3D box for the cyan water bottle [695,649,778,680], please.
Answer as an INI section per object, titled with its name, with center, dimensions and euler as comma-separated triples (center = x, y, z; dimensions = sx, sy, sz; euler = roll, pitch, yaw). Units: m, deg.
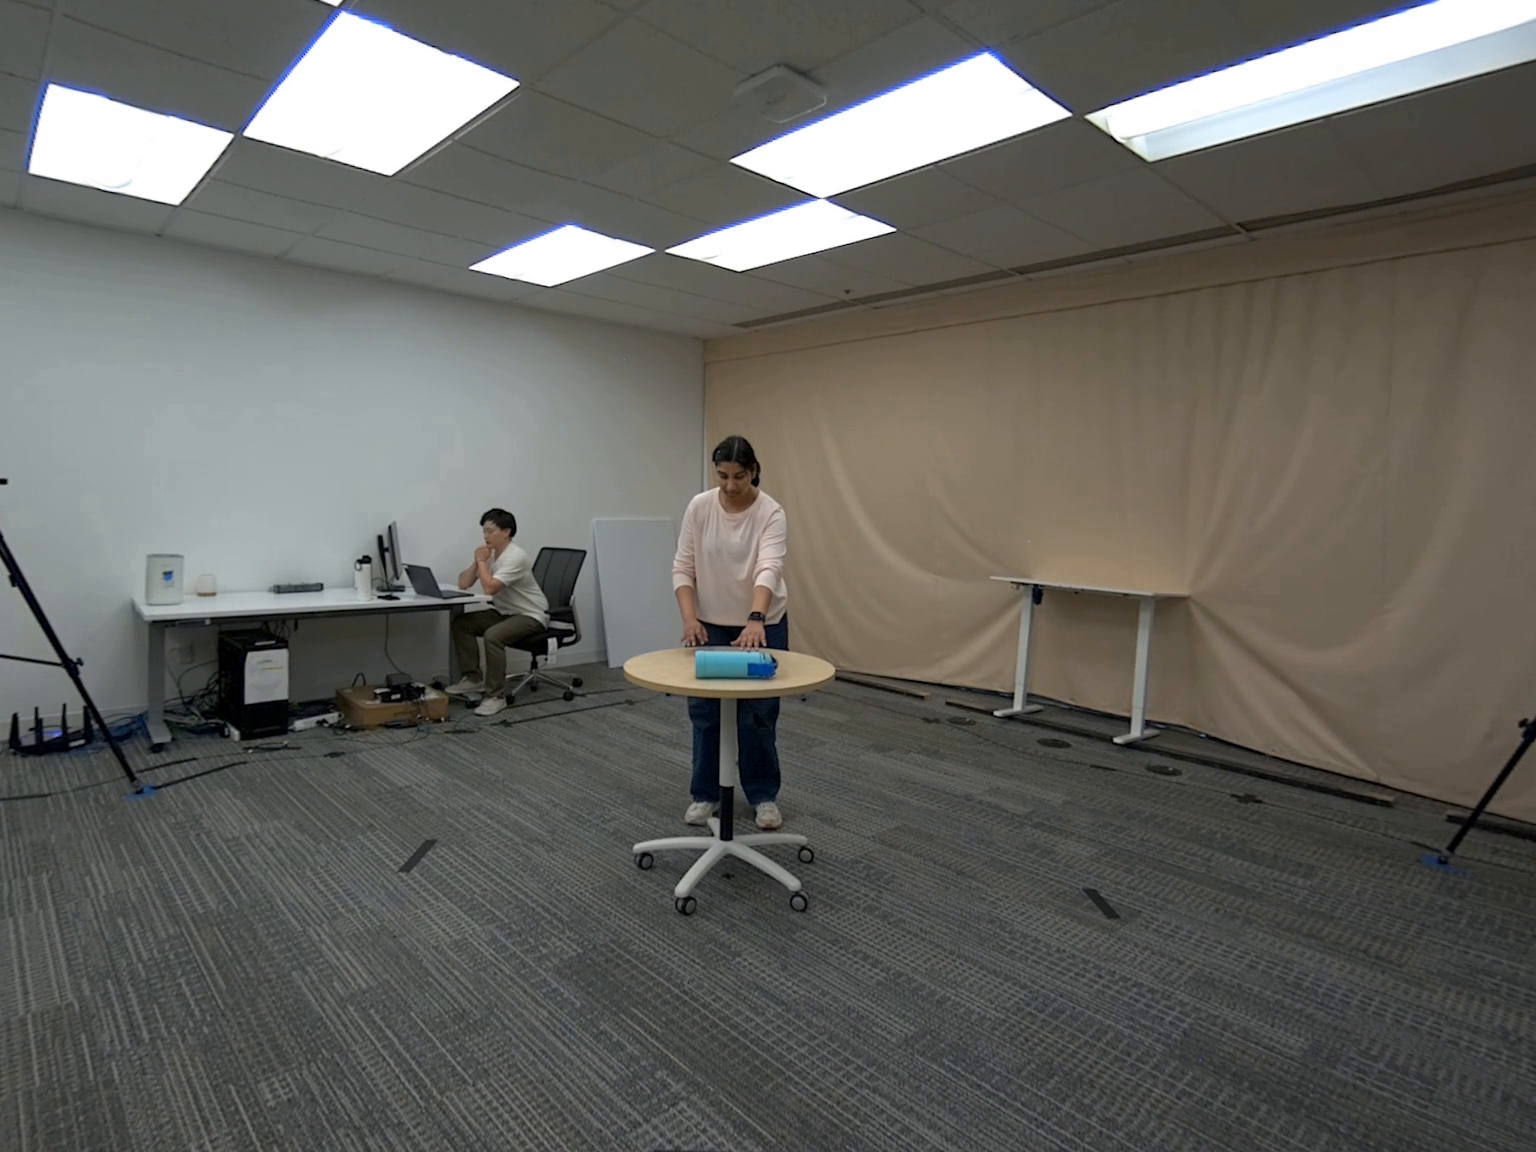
[cyan water bottle]
center = -0.120, 0.304, 2.855
dimensions = 0.283, 0.092, 0.093
euler = 1, 4, -2
